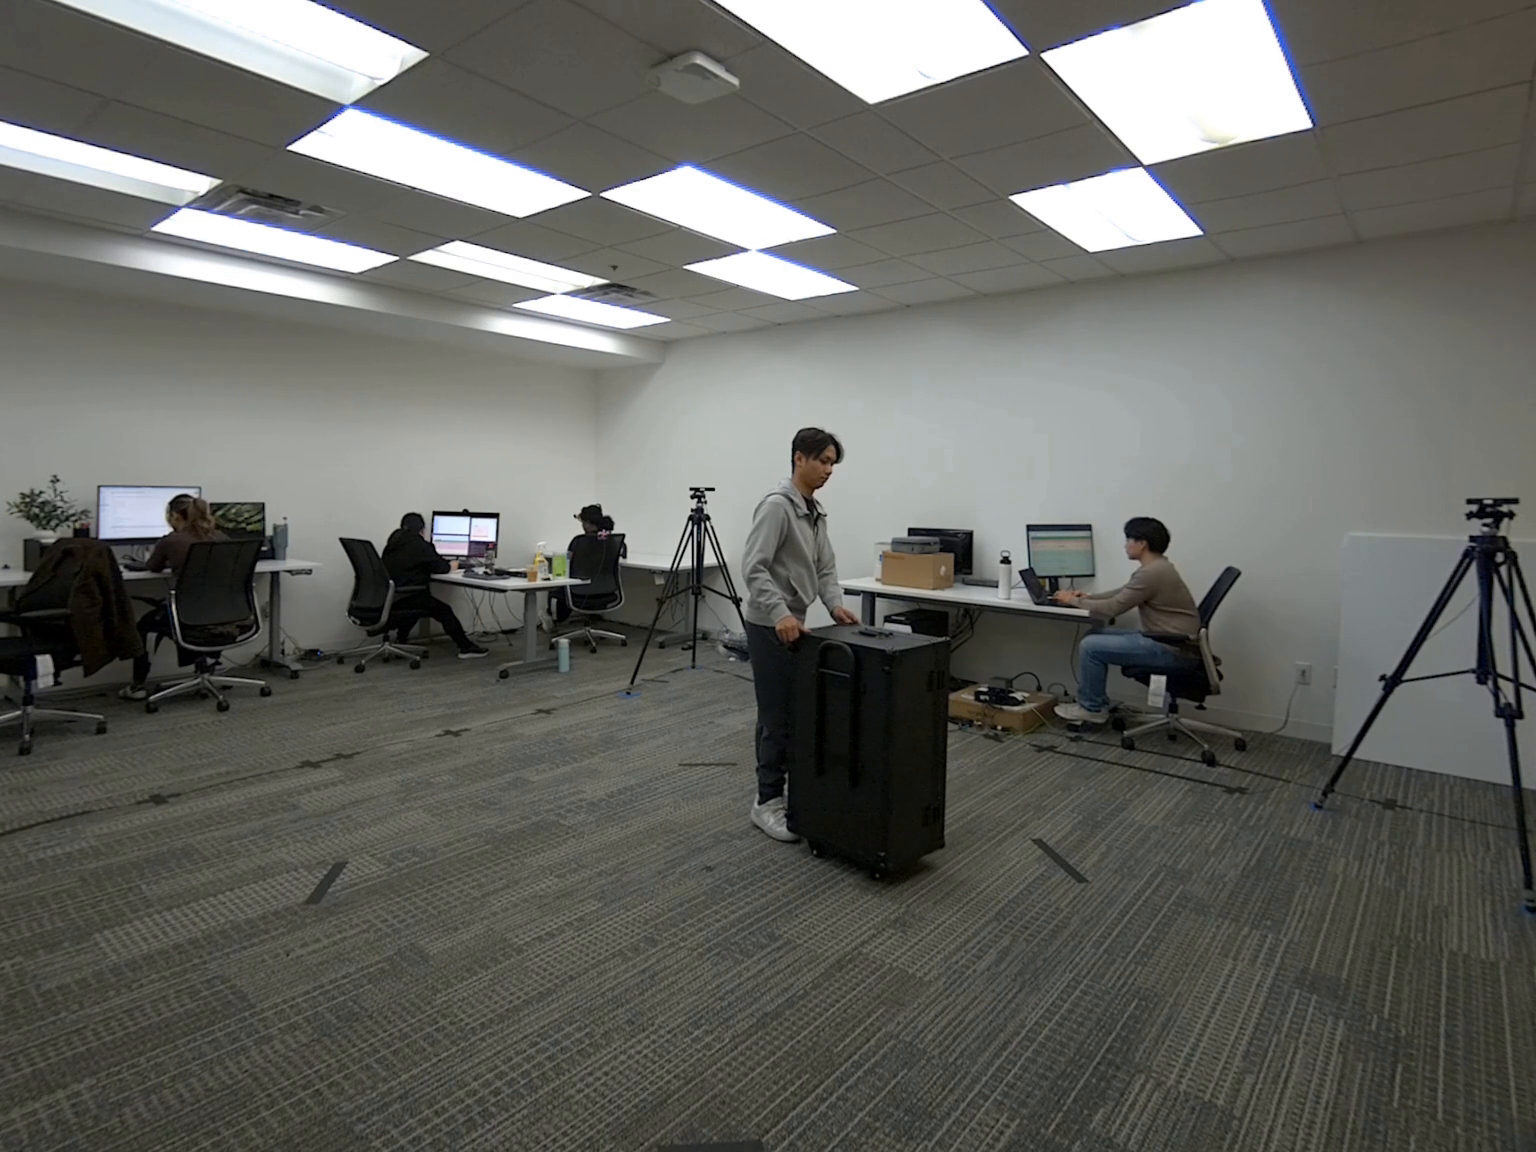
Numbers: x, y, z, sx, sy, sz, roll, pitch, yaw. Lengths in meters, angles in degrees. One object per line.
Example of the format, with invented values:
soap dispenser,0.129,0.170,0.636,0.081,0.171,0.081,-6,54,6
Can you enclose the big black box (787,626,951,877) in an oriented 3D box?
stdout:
big black box,0.368,0.646,3.205,0.384,0.858,0.539,-3,5,-43
